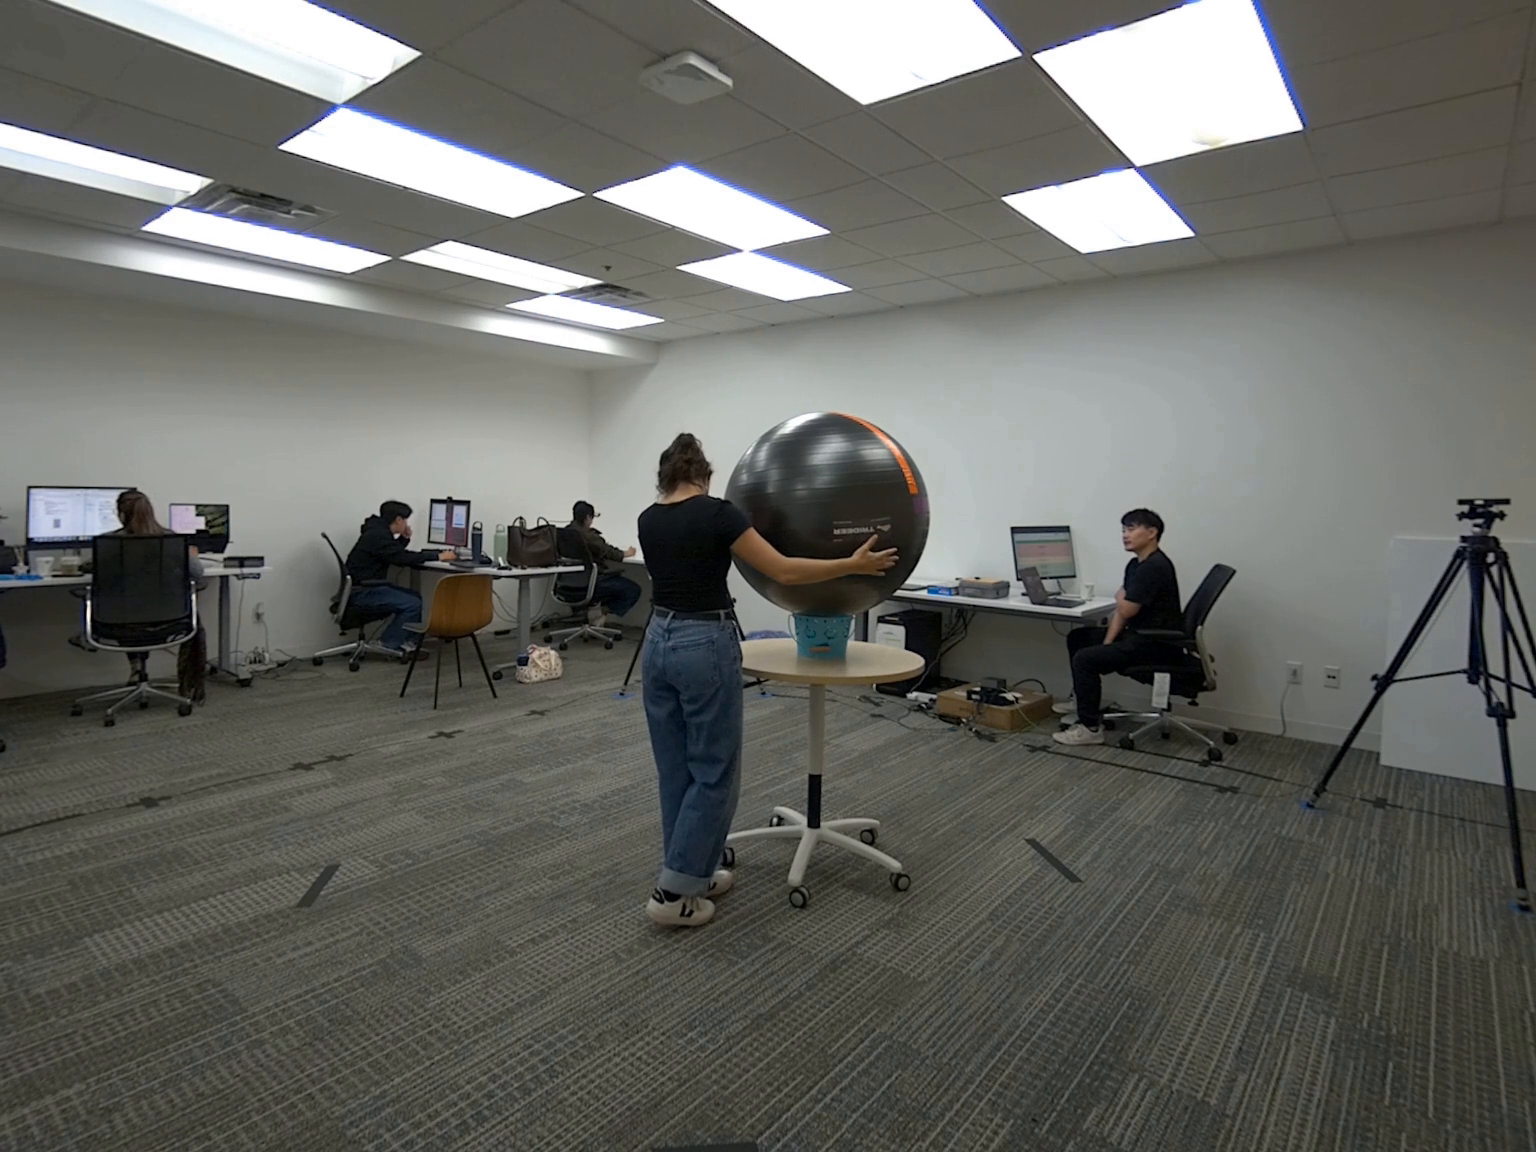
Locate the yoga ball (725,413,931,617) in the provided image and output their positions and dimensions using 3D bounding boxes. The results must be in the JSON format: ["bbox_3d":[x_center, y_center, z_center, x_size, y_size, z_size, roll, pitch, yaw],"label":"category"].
[{"bbox_3d":[0.209,-0.227,3.163,0.757,0.756,0.762,1,4,-2],"label":"yoga ball"}]
